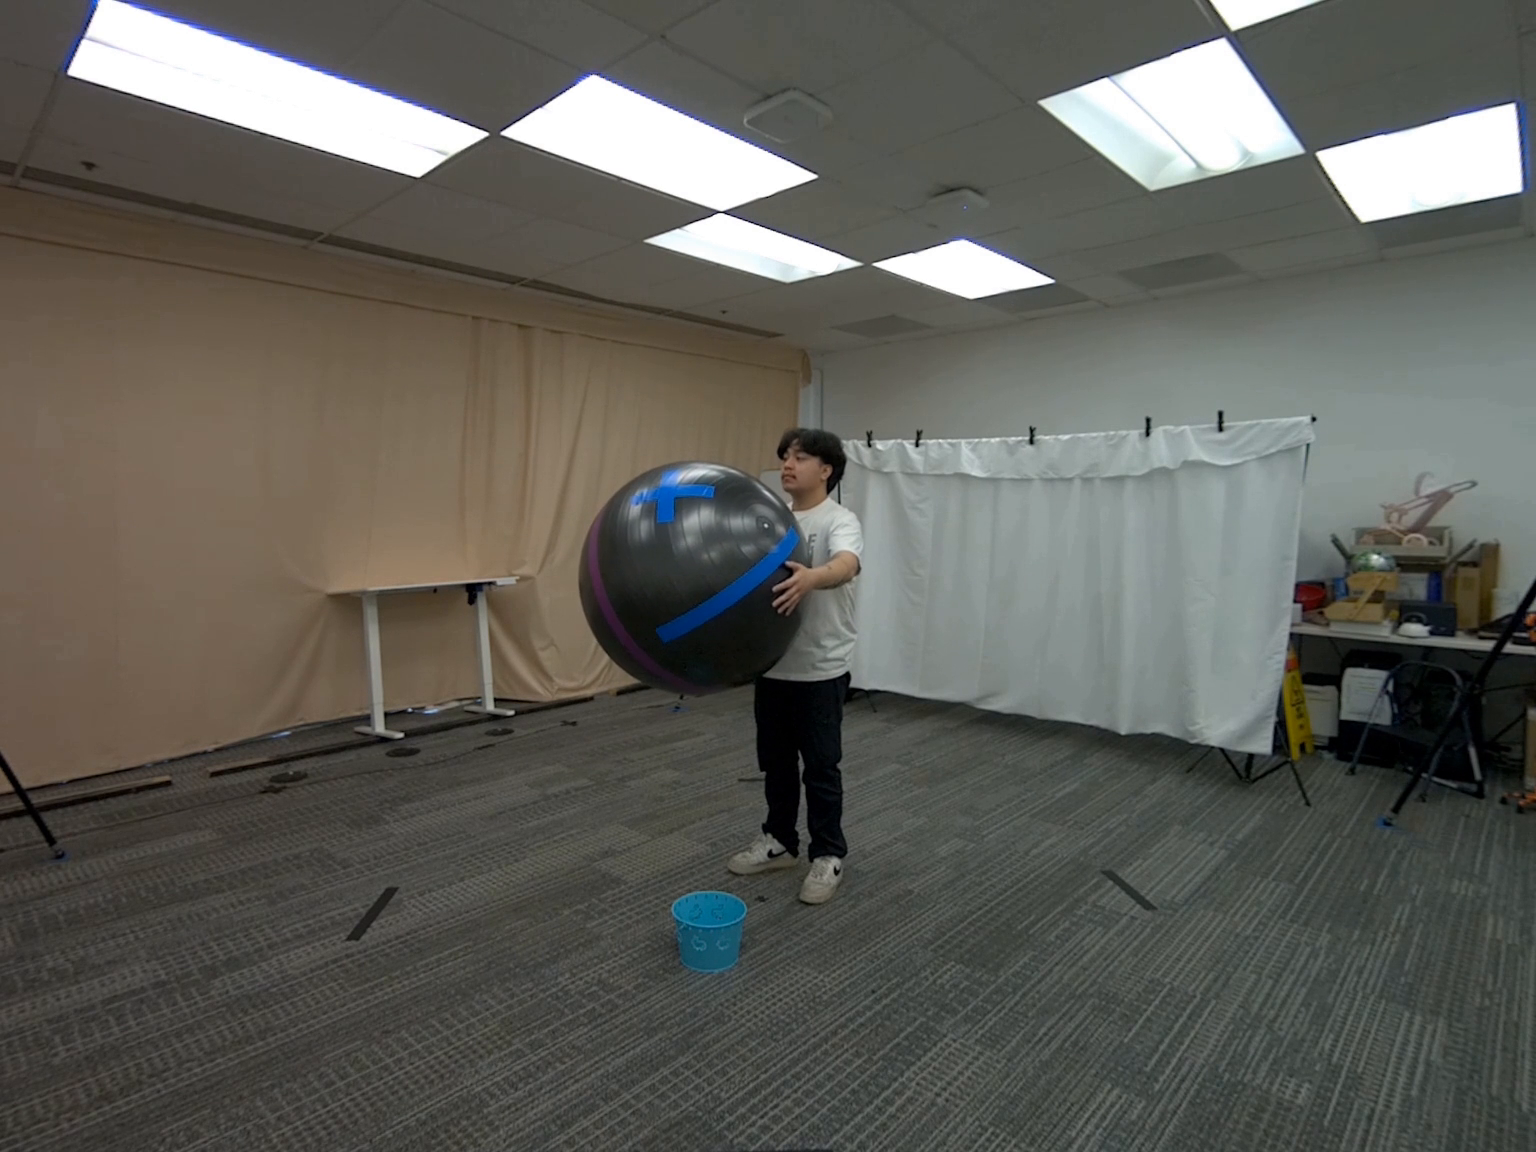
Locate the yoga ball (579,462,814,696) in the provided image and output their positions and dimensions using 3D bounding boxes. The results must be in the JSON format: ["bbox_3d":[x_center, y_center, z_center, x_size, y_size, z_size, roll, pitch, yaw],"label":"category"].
[{"bbox_3d":[-0.242,0.009,2.752,0.757,0.756,0.760,0,4,-2],"label":"yoga ball"}]
